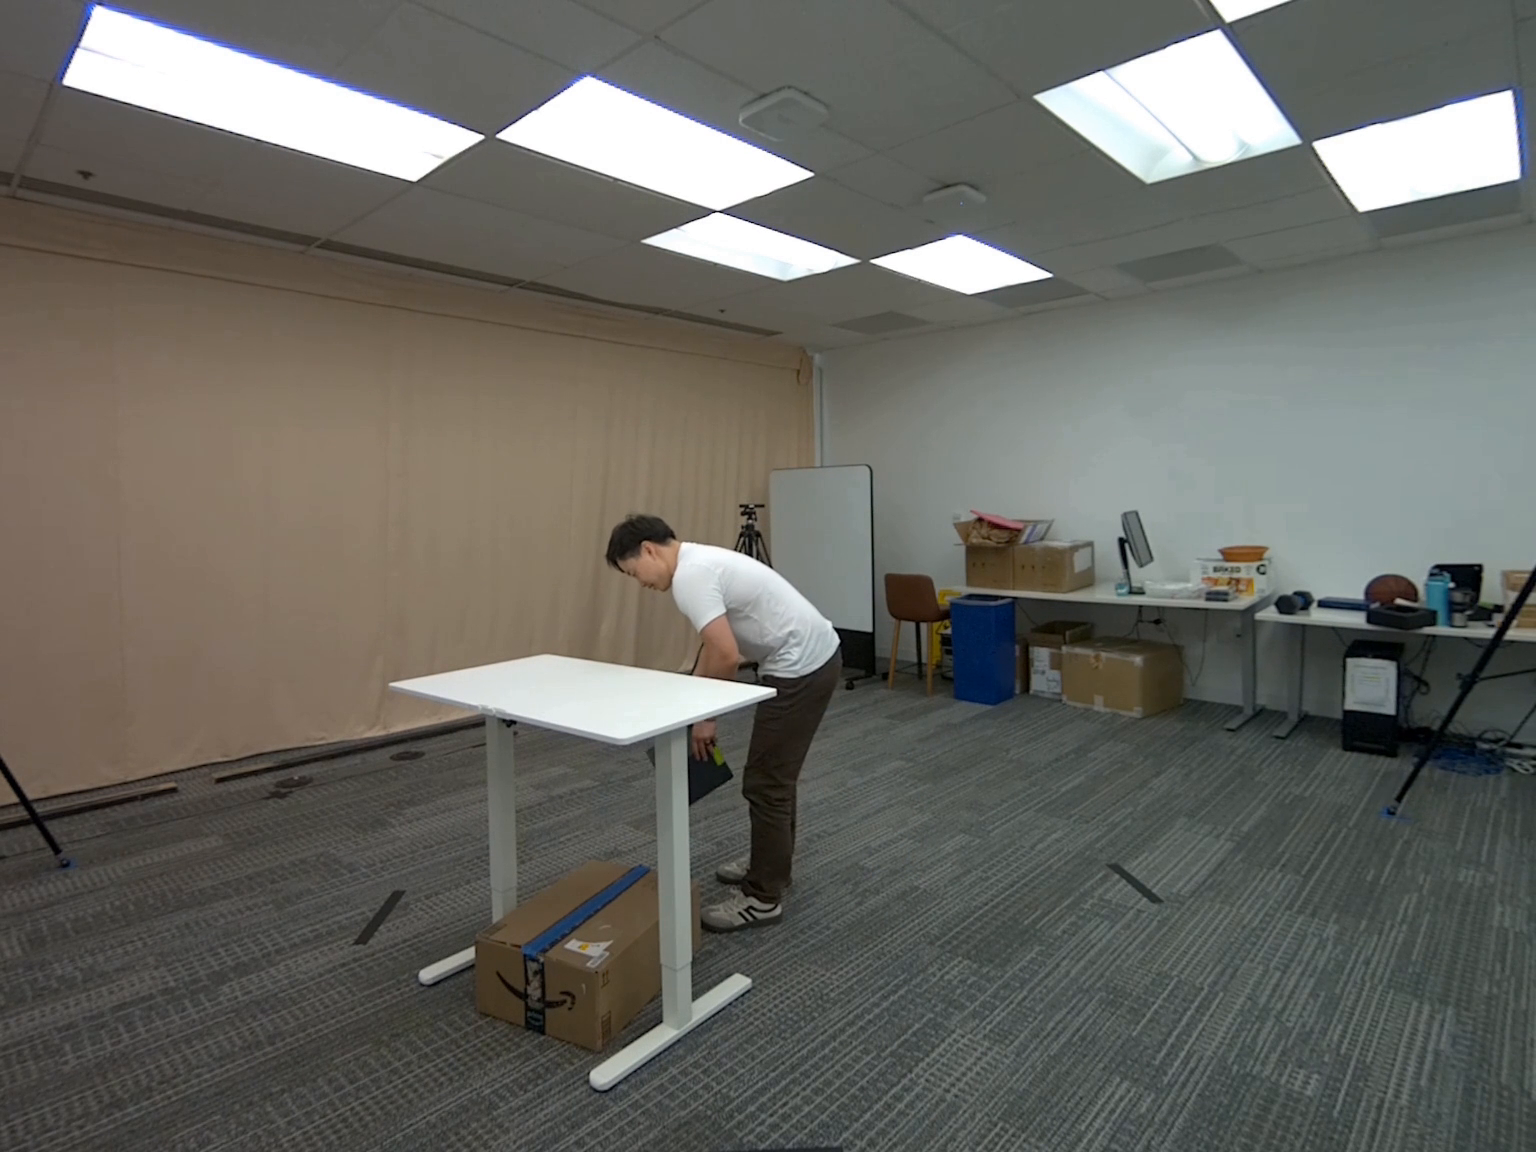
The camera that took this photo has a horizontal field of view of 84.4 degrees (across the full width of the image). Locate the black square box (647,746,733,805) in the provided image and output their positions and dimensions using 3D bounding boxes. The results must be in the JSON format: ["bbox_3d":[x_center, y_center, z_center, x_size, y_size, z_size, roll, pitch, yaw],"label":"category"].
[{"bbox_3d":[-0.272,0.652,2.907,0.215,0.153,0.233,-30,16,-13],"label":"black square box"}]
